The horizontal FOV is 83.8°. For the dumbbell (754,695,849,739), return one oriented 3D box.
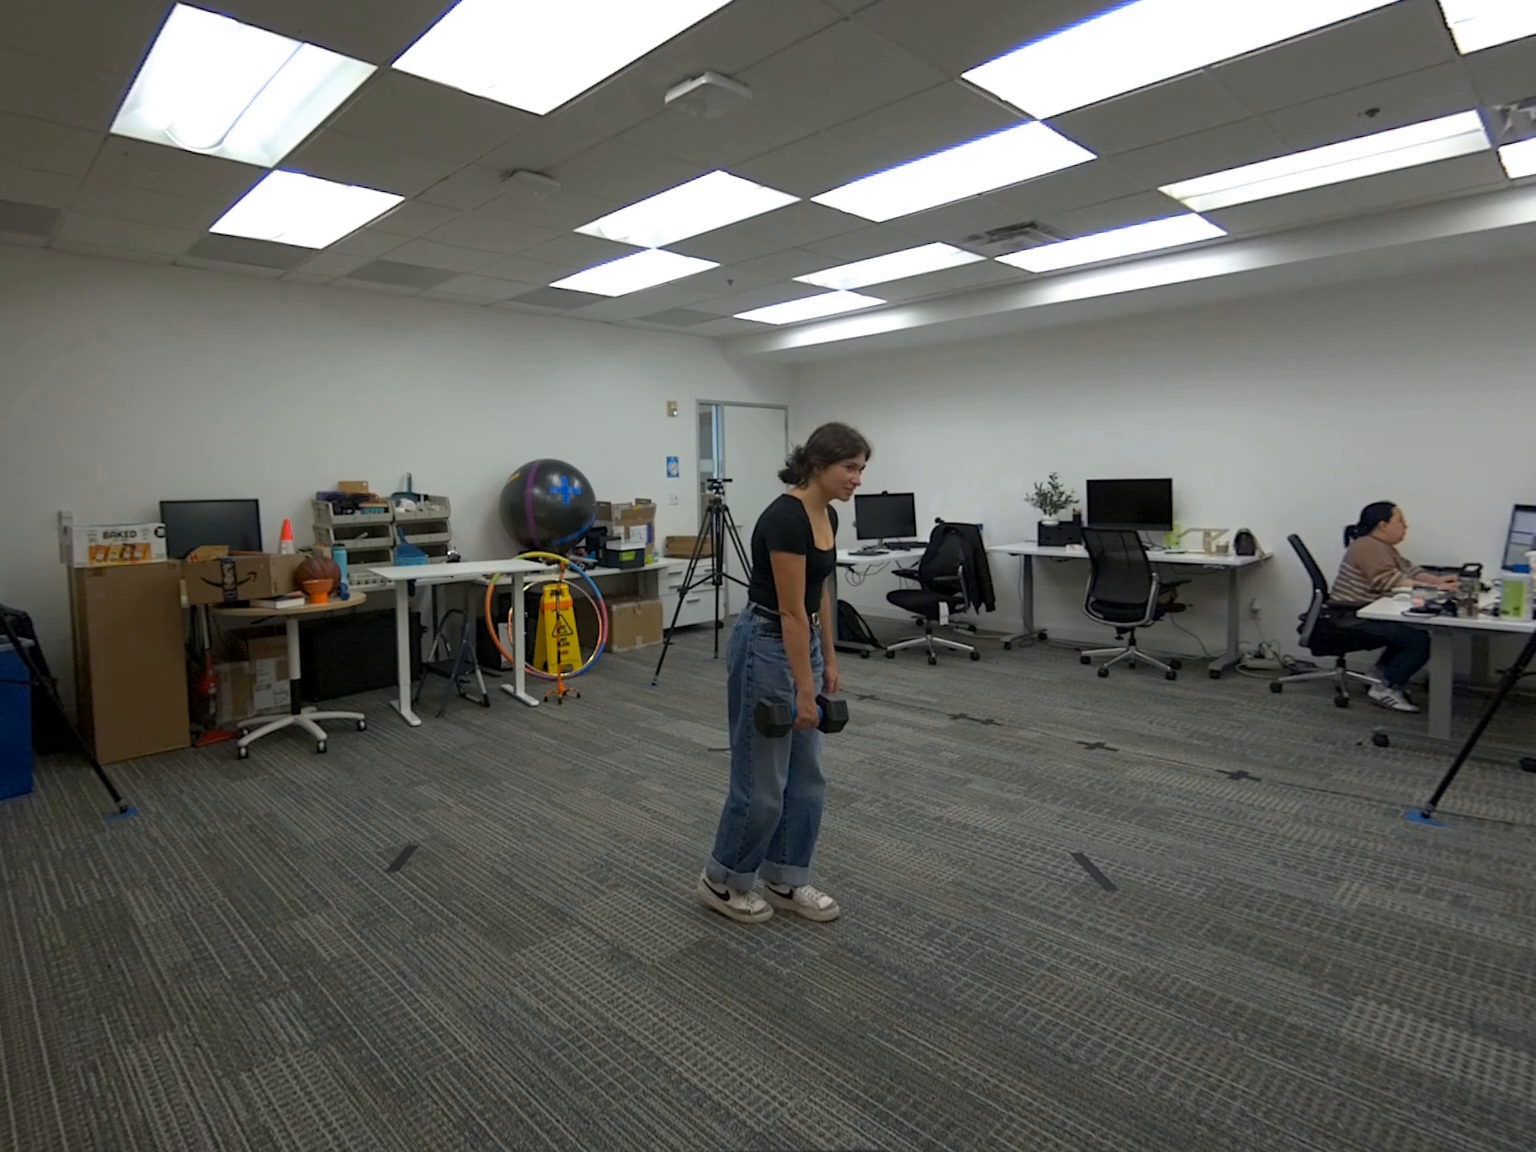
[{"bbox_3d":[0.100,0.423,2.607,0.285,0.122,0.113,1,40,-34],"label":"dumbbell"}]
